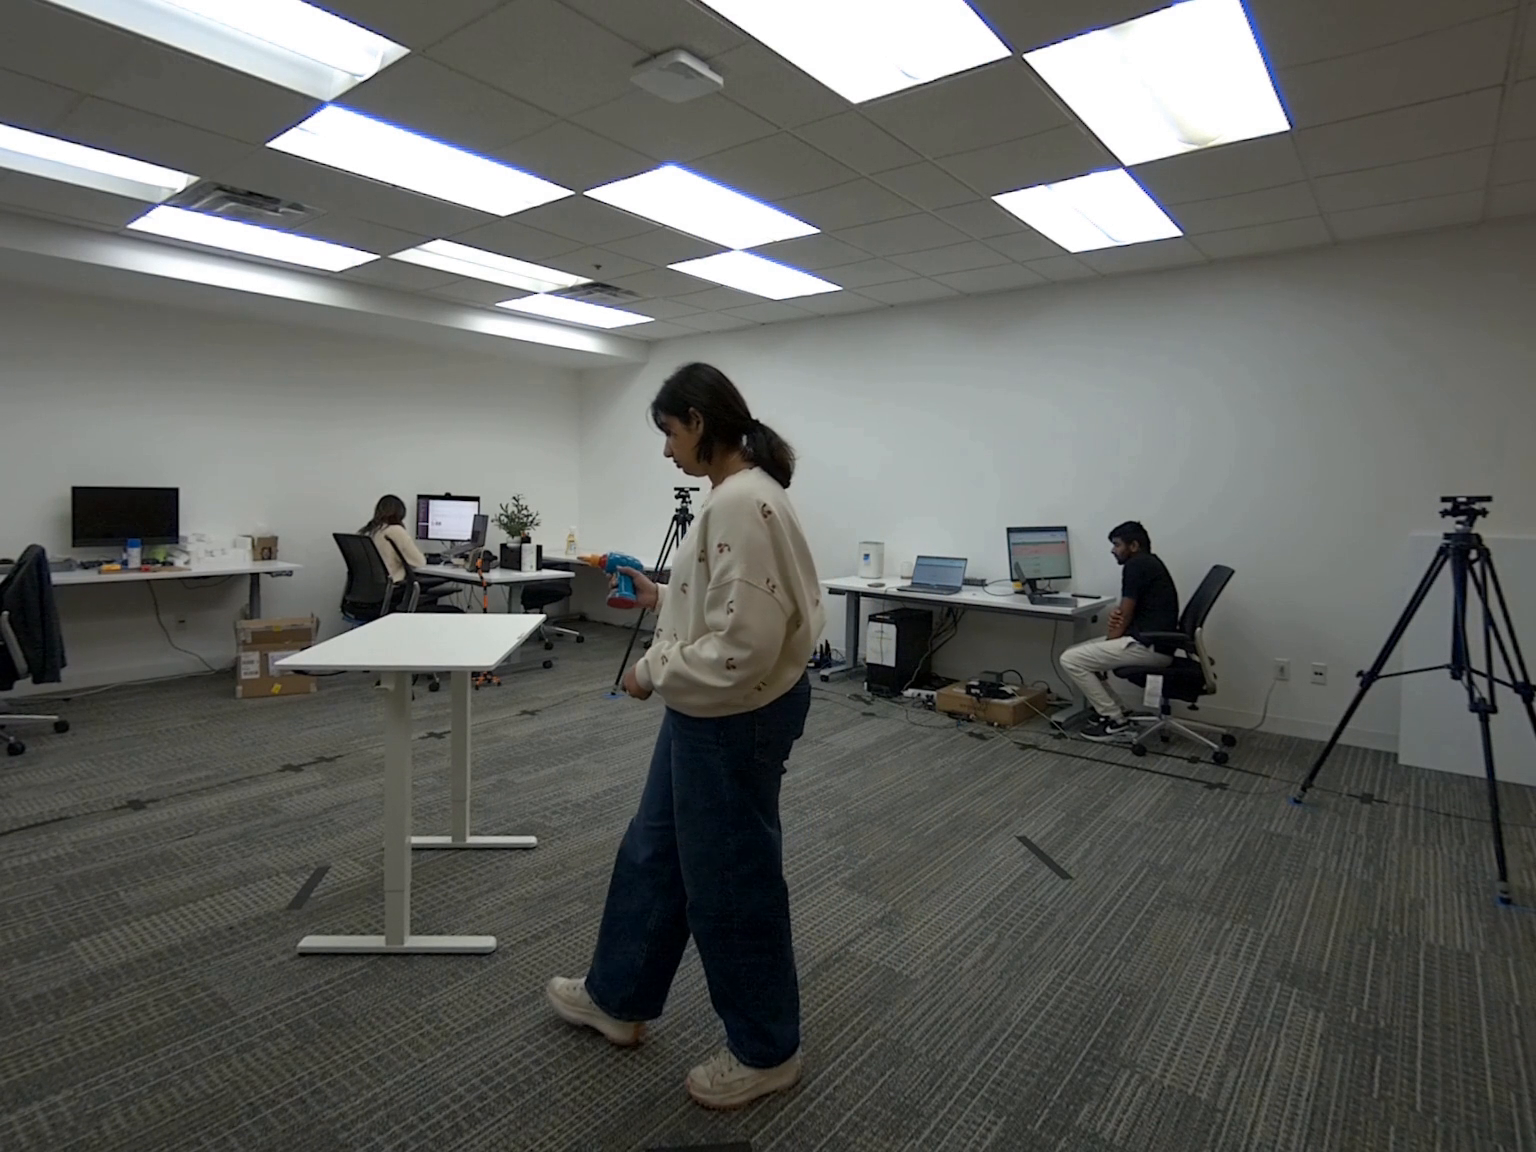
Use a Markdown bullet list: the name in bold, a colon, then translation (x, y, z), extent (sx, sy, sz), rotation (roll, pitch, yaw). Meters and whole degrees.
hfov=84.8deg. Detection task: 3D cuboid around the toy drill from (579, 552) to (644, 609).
- **toy drill**: translation (-0.407, -0.004, 2.131), extent (0.167, 0.150, 0.060), rotation (10, -35, -15)
